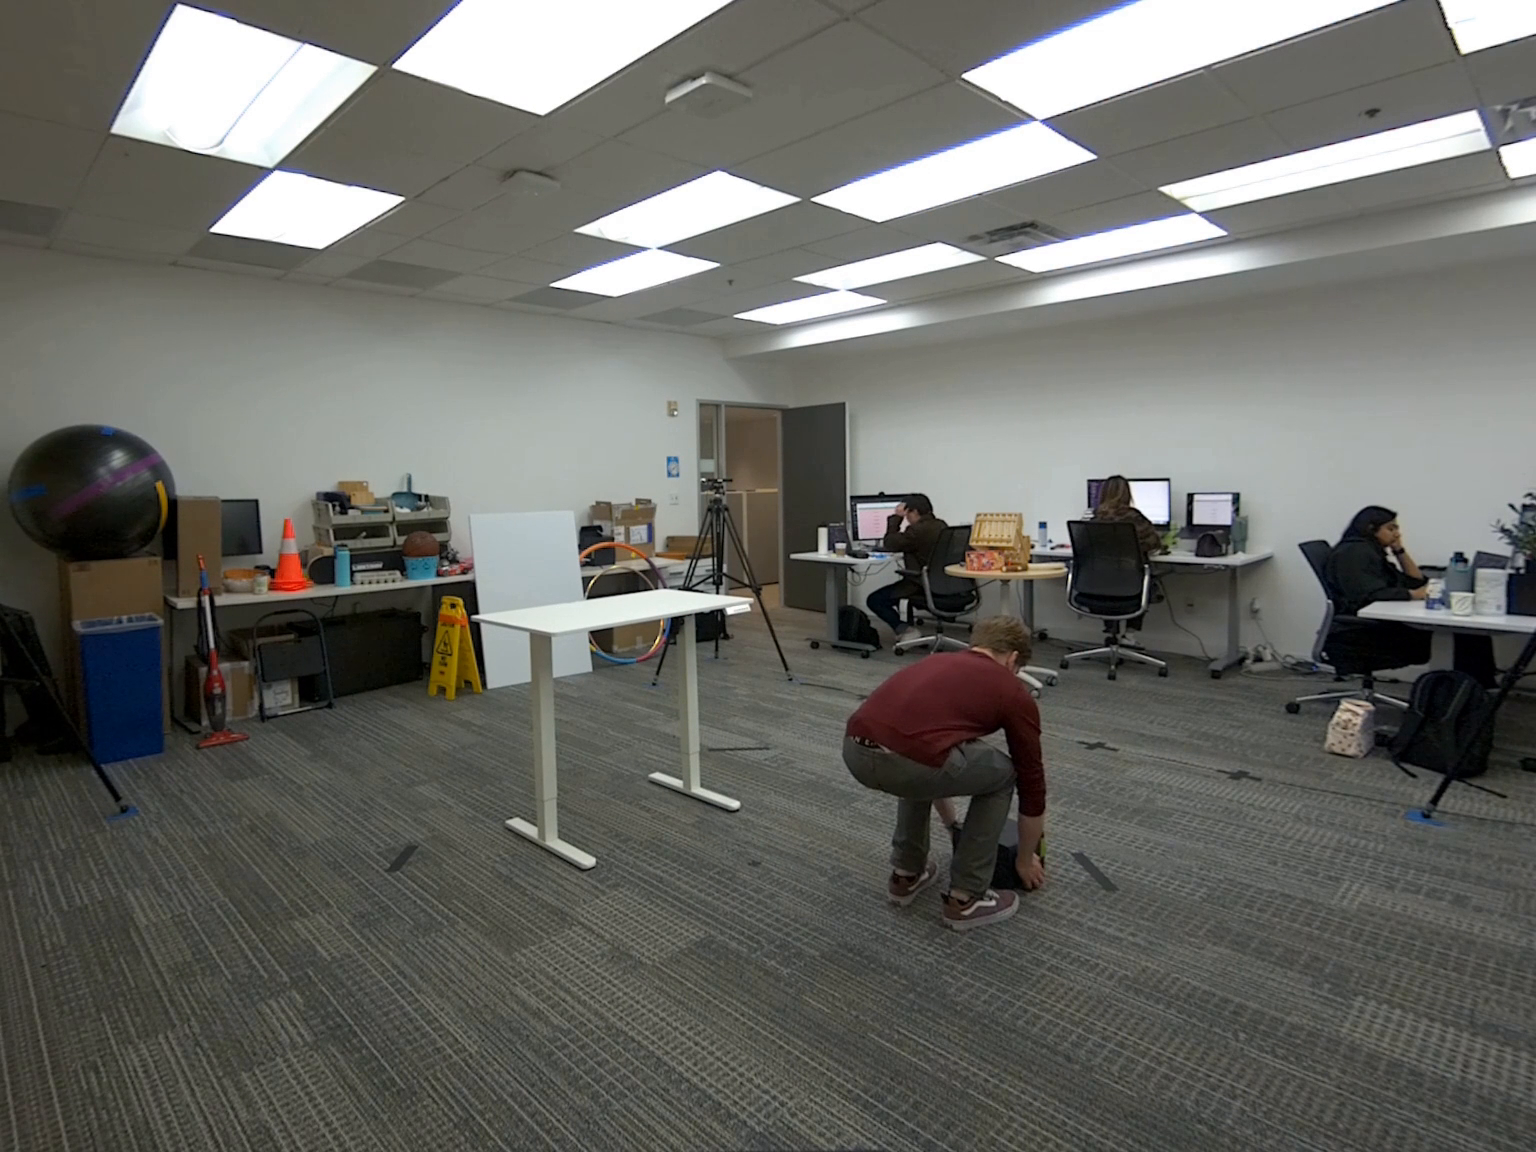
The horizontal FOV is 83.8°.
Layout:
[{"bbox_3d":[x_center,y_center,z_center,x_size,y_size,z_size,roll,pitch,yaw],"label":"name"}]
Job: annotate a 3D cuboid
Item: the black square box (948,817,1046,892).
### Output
[{"bbox_3d":[0.820,0.961,2.995,0.211,0.155,0.234,-3,5,-37],"label":"black square box"}]
